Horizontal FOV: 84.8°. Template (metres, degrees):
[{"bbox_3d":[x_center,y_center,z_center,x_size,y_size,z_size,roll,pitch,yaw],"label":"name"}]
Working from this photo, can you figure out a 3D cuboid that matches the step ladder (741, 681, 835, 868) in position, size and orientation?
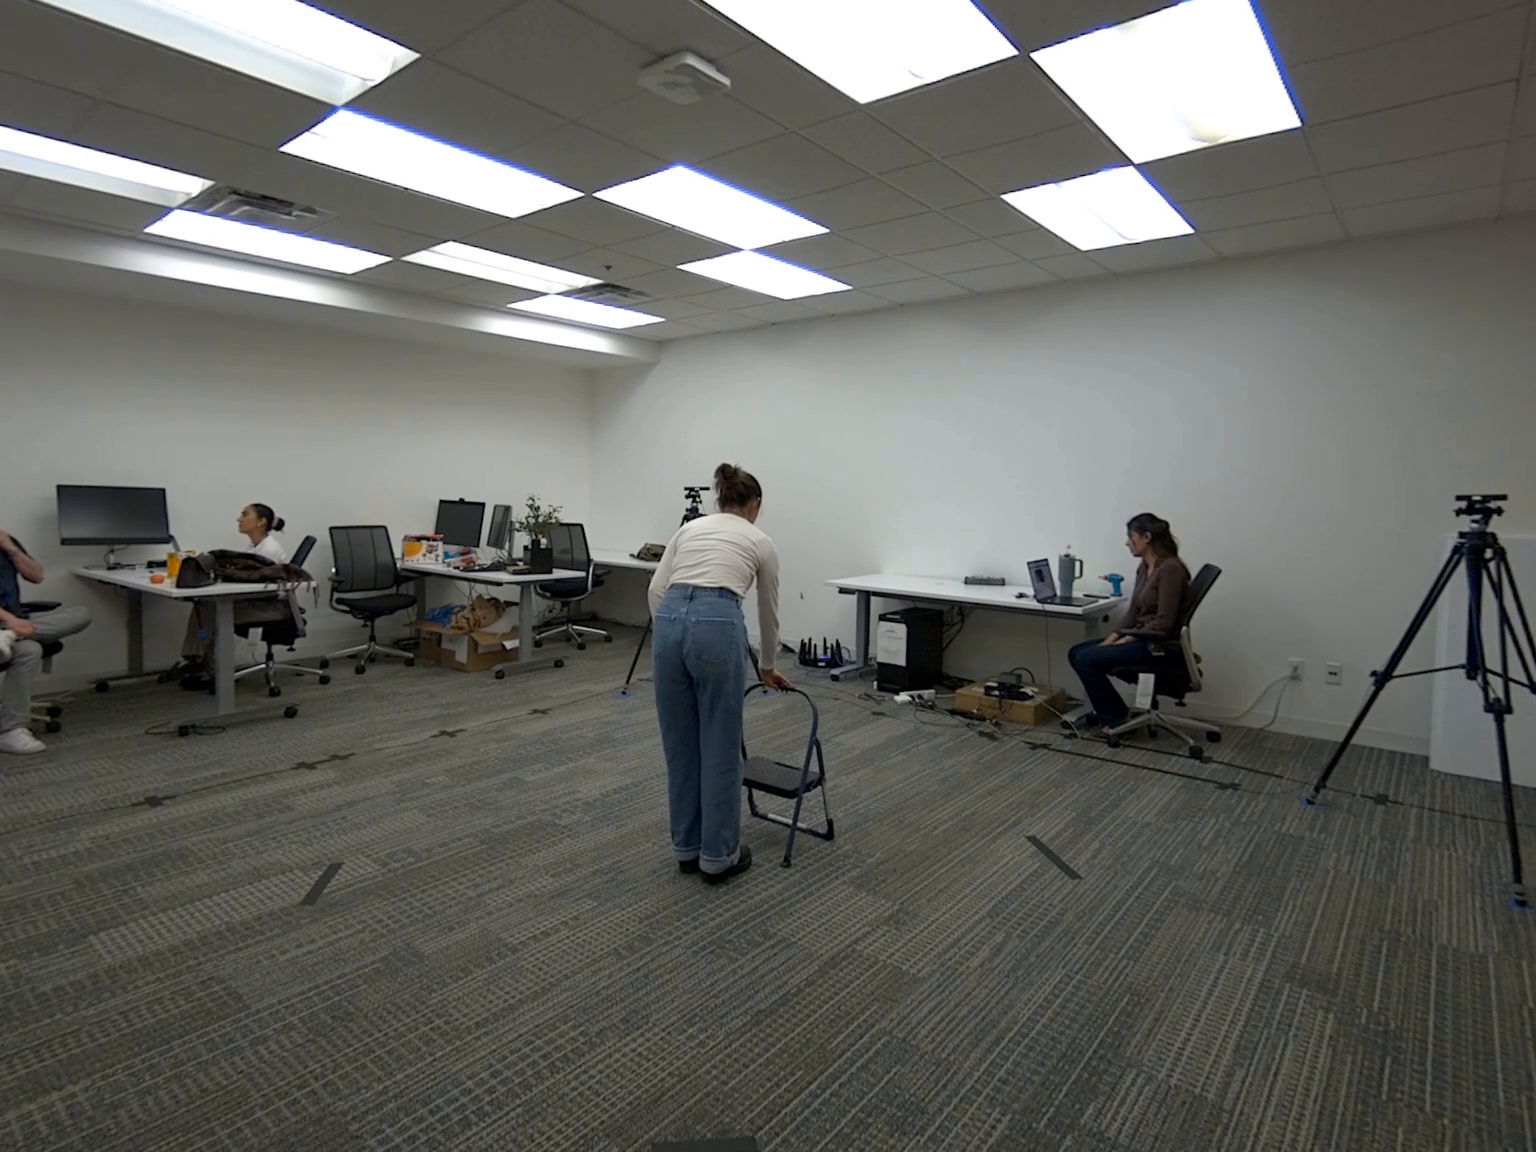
[{"bbox_3d":[-0.001,0.738,3.372,0.445,0.604,0.339,4,5,38],"label":"step ladder"}]
